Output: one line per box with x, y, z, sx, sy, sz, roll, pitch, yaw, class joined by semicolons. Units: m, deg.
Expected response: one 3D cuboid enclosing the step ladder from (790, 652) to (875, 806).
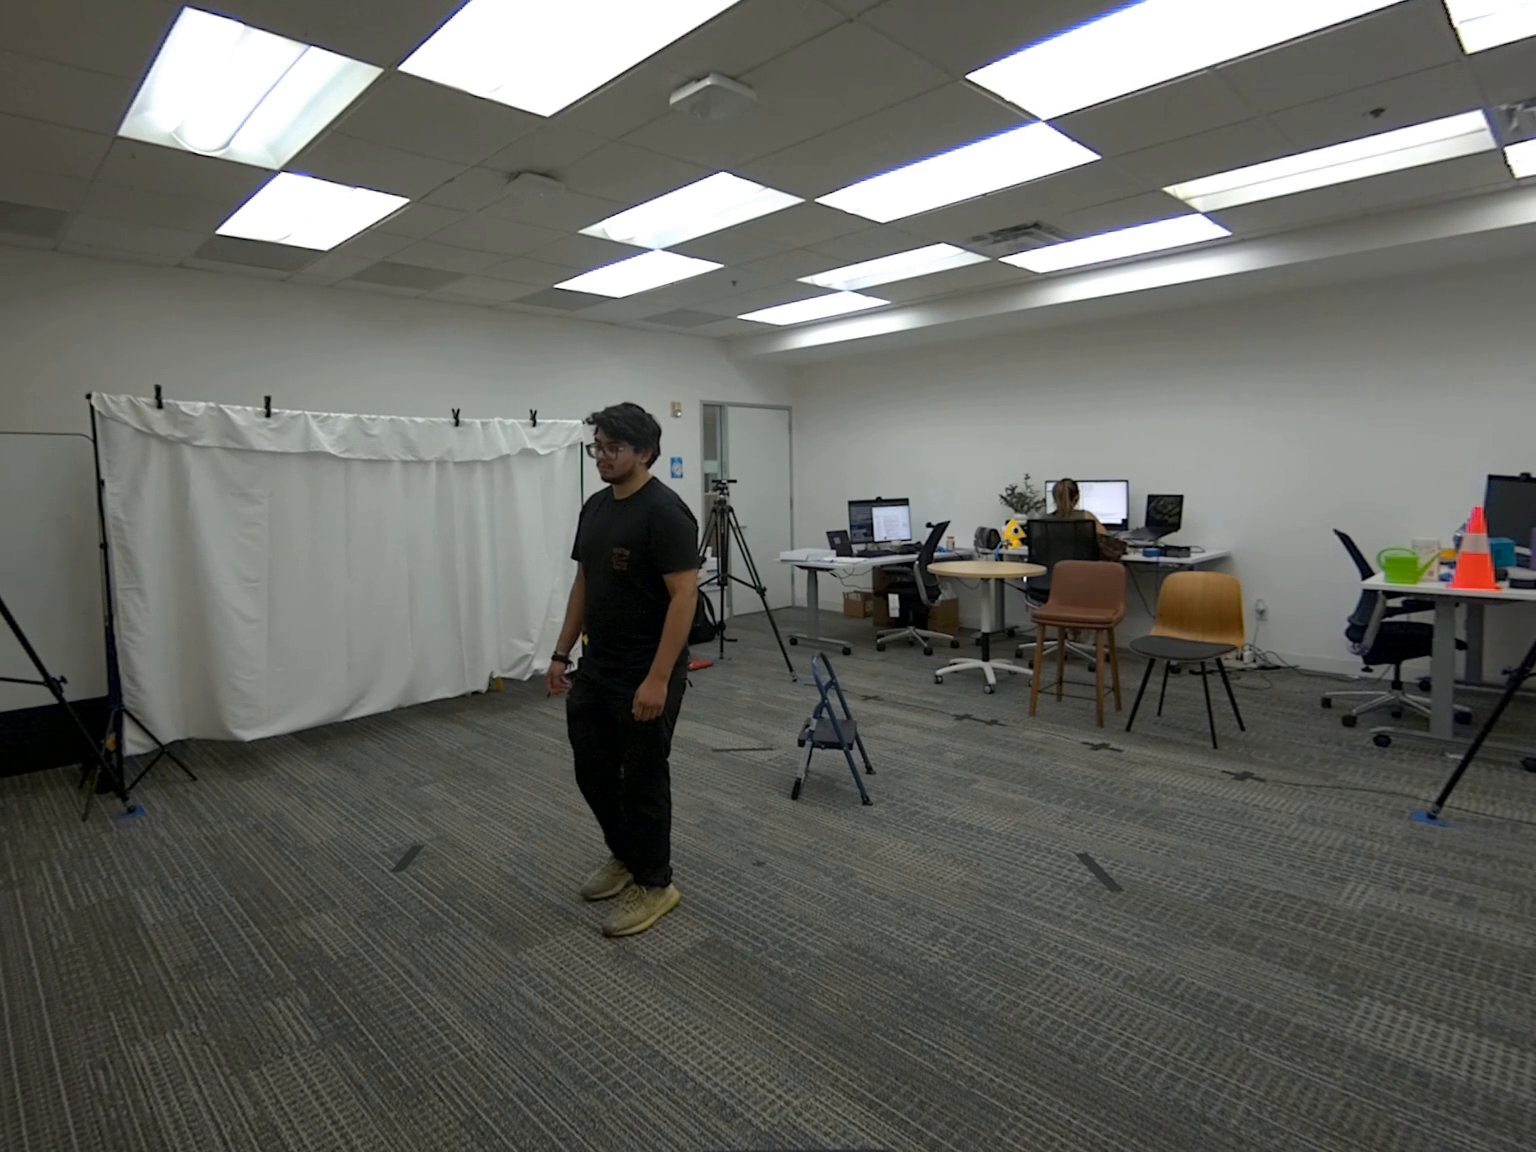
0.300;0.654;3.874;0.353;0.604;0.427;0;4;10;step ladder
